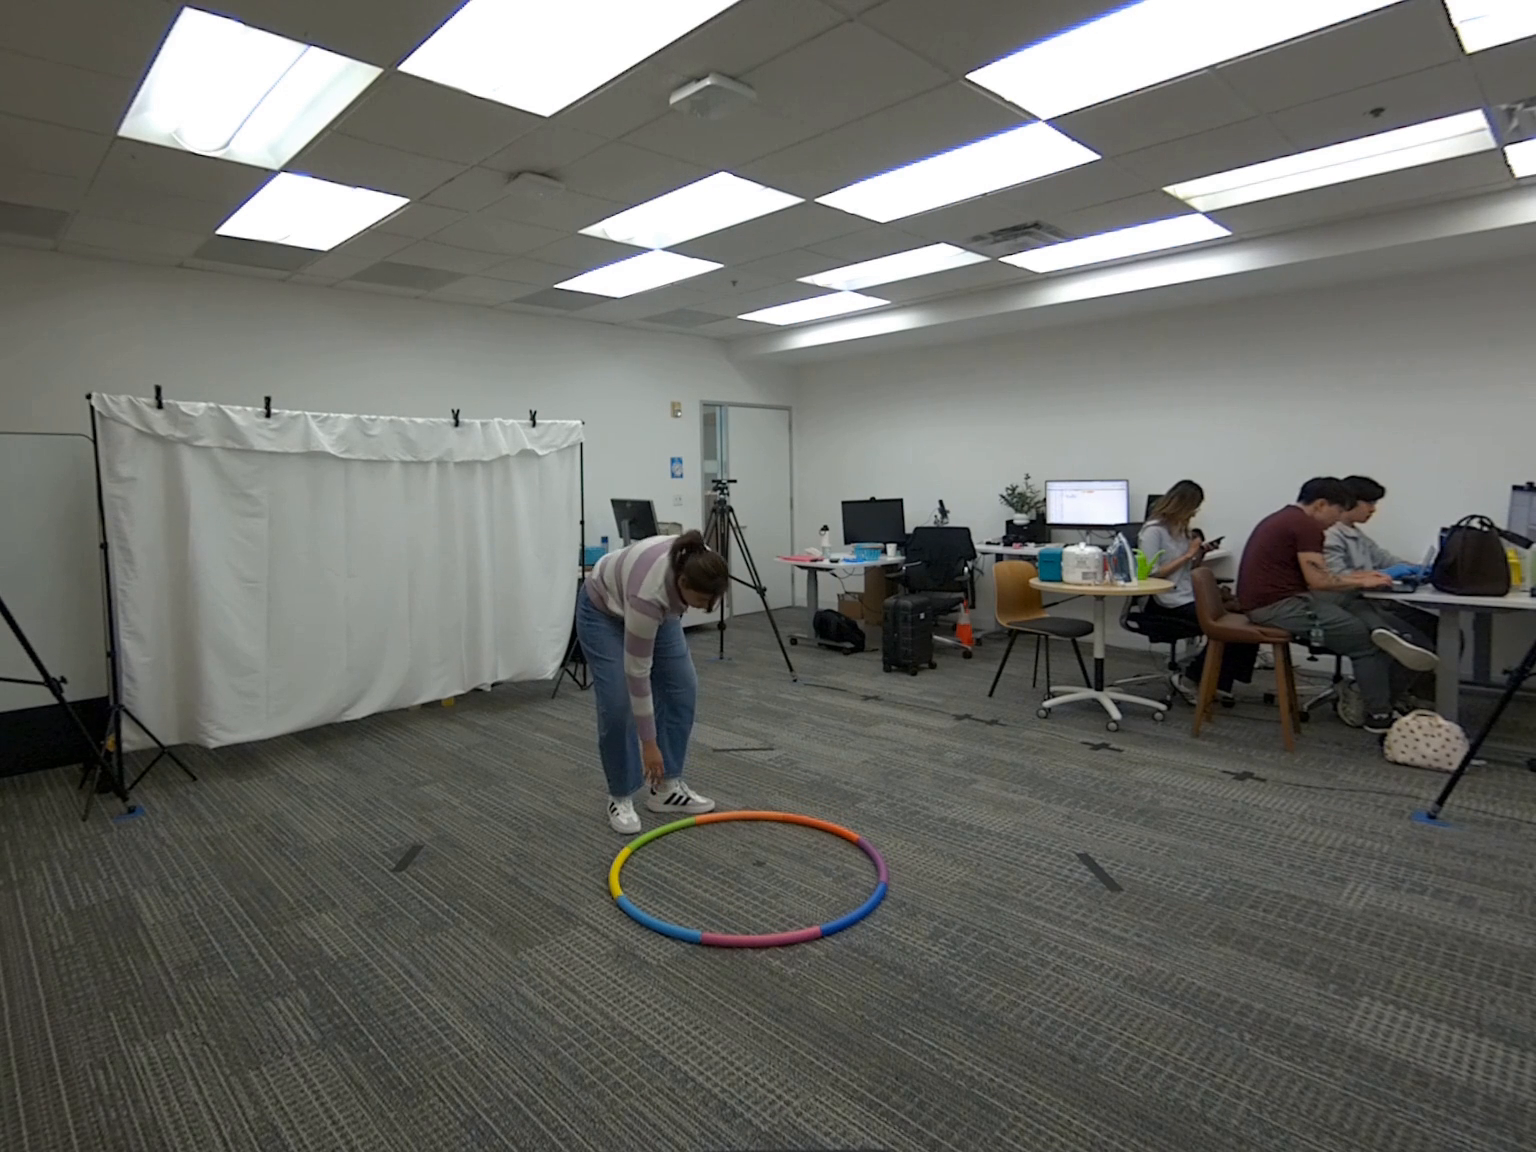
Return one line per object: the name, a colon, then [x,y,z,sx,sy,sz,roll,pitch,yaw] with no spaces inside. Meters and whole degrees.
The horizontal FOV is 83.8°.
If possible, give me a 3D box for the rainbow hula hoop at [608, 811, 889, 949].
rainbow hula hoop: [-0.074,1.030,3.032,0.985,0.051,0.990,-1,6,-2]
